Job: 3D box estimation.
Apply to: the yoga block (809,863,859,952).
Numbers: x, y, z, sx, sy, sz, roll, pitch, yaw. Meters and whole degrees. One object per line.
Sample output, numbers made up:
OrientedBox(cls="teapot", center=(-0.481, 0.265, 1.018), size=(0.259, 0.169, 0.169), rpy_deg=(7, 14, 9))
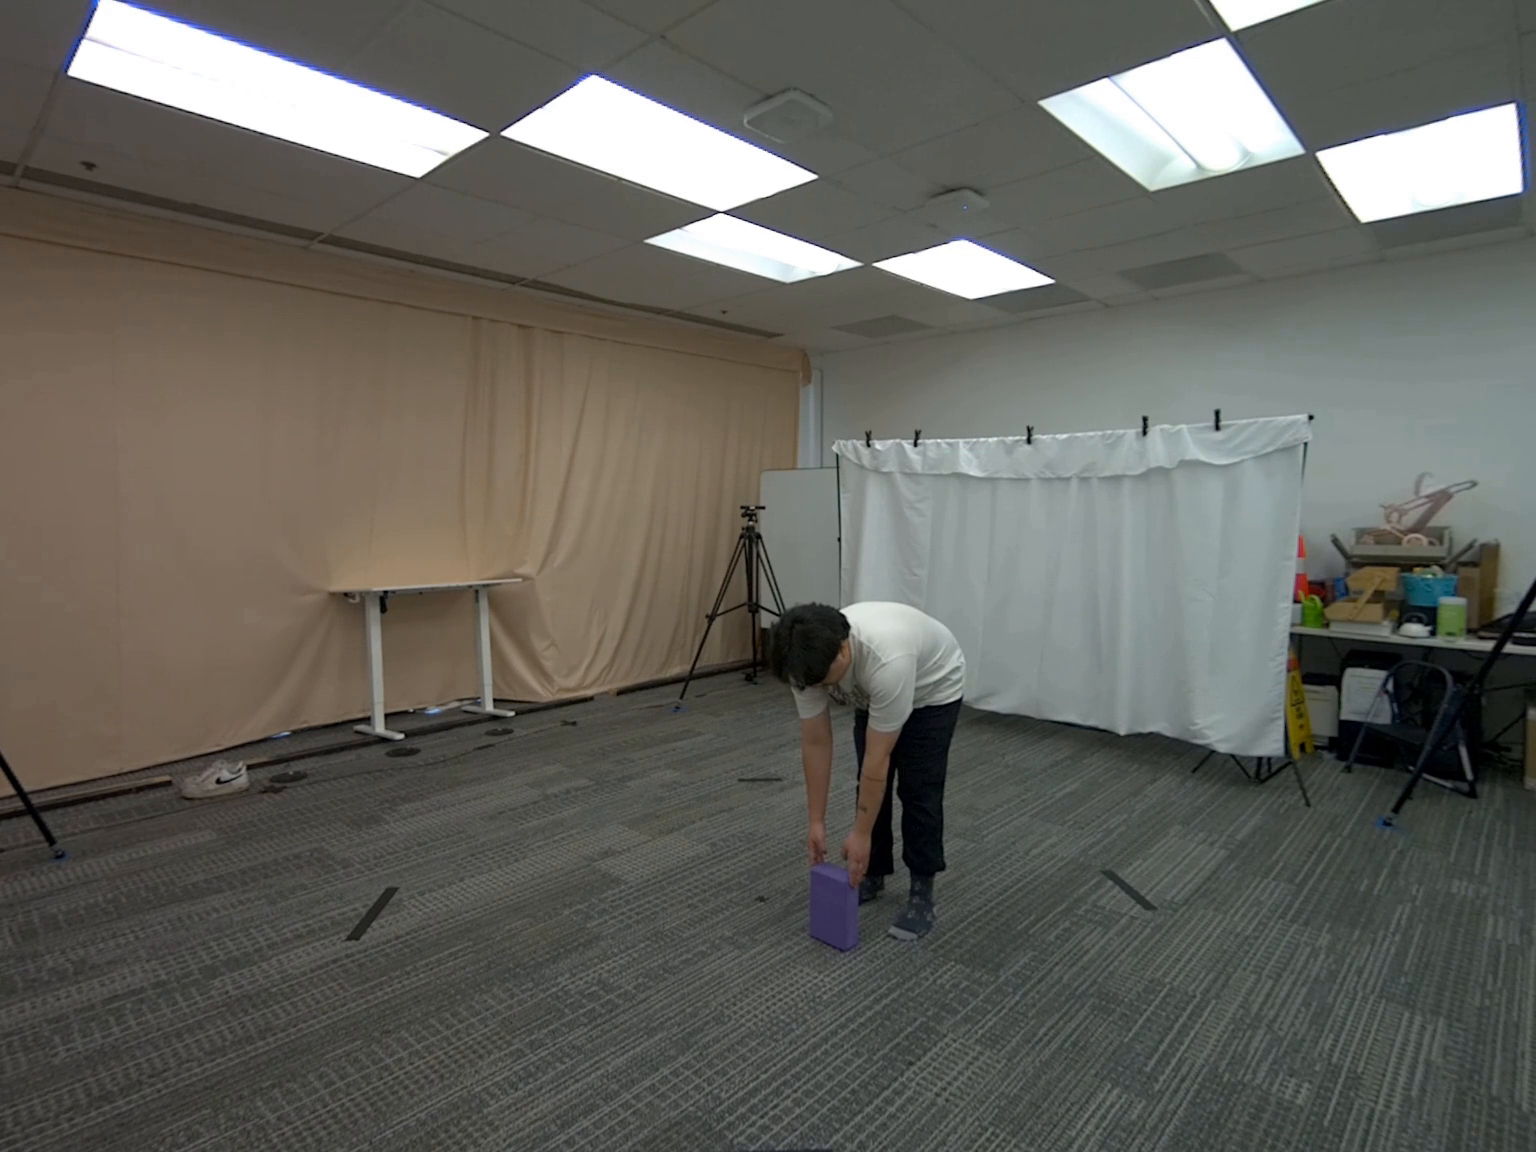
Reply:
OrientedBox(cls="yoga block", center=(0.219, 1.059, 2.687), size=(0.154, 0.229, 0.074), rpy_deg=(5, 4, 42))
